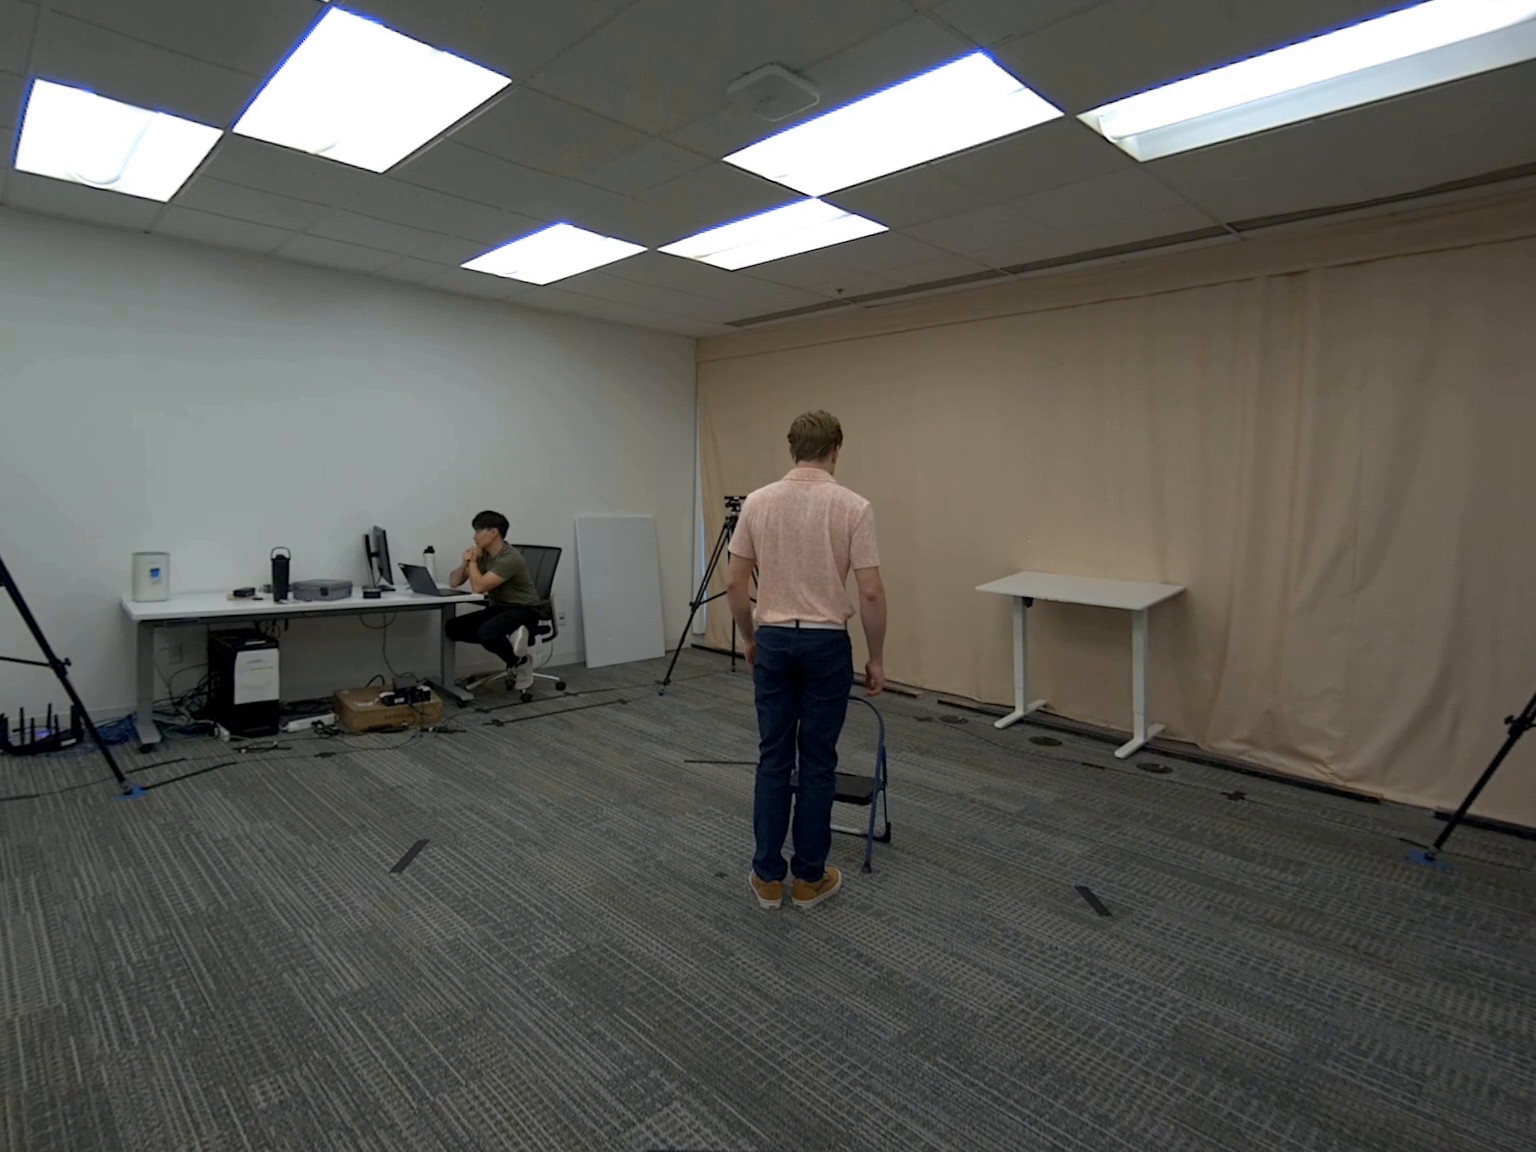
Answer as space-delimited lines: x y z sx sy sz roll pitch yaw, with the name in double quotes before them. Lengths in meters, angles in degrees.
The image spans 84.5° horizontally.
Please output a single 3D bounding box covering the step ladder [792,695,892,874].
"step ladder" 0.256 0.787 3.380 0.439 0.605 0.343 3 3 24
